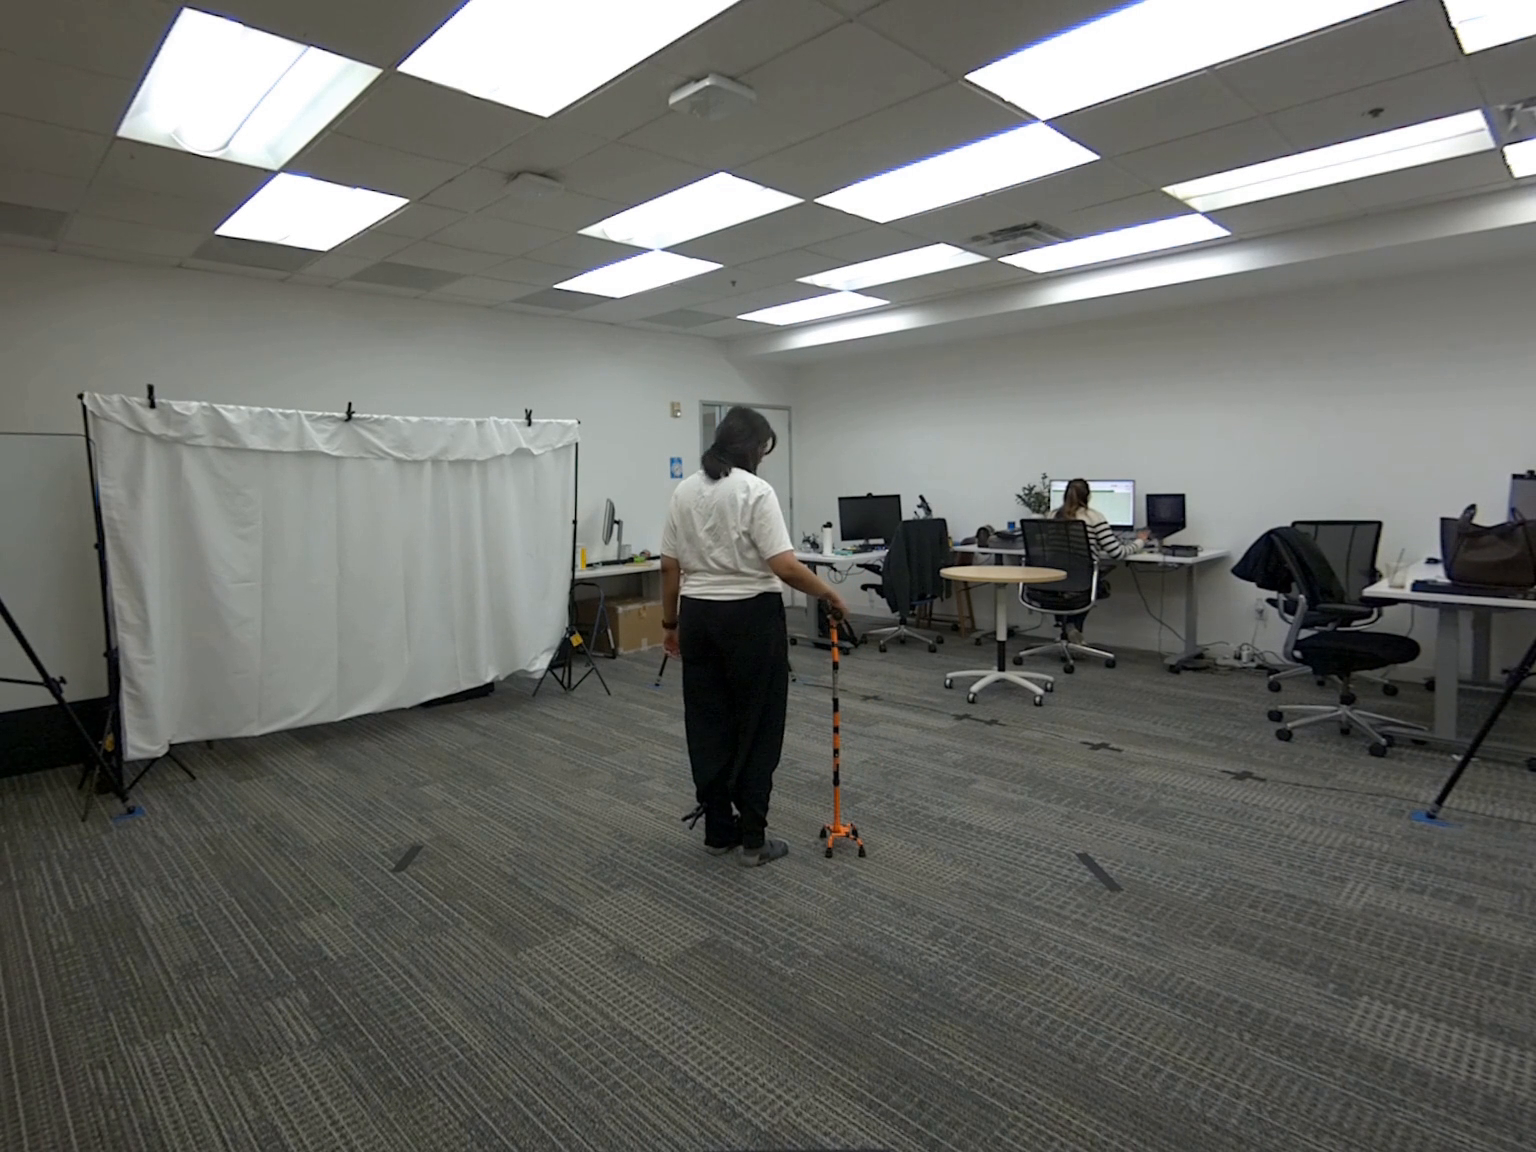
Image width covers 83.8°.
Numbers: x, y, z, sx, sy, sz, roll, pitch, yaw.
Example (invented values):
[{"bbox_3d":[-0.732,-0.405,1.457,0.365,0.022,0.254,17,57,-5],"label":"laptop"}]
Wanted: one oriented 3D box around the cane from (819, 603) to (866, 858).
[{"bbox_3d":[0.270,0.570,3.216,0.152,0.905,0.207,0,4,0],"label":"cane"}]
